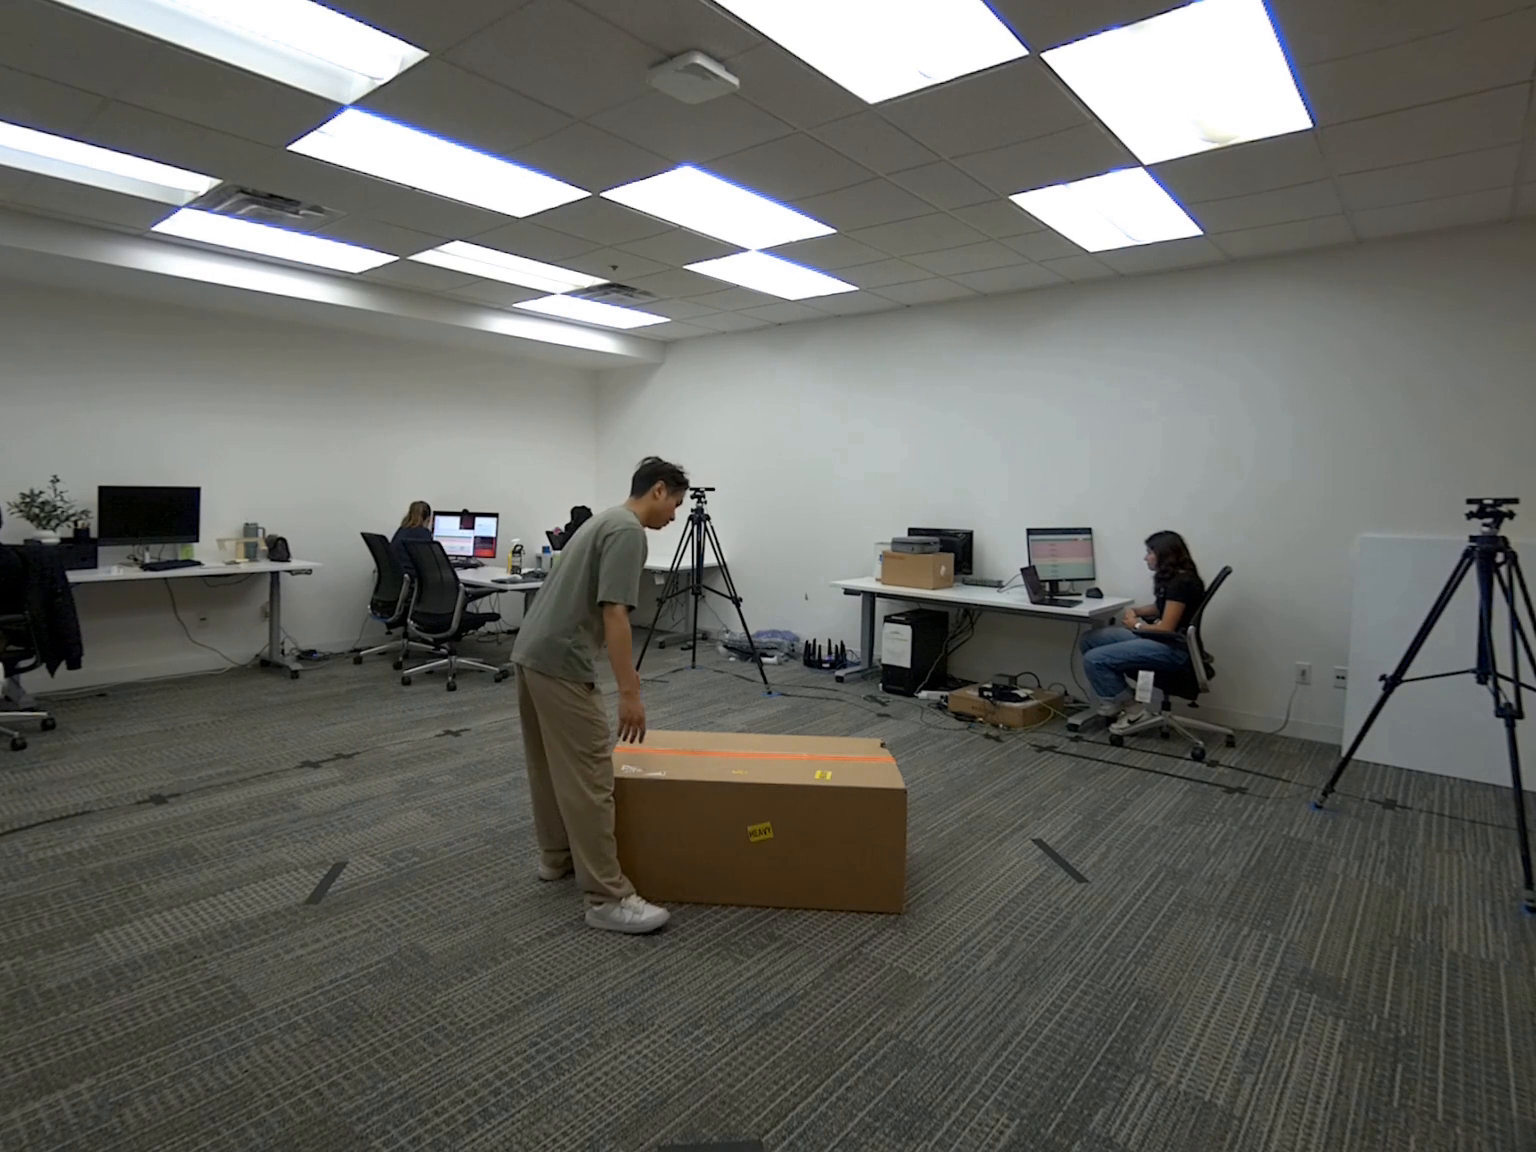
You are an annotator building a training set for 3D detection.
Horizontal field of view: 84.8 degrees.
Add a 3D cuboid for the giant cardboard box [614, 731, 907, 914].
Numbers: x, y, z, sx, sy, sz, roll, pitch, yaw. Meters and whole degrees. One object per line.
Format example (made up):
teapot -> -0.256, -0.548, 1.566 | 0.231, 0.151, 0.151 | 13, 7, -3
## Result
giant cardboard box -> -0.062, 0.854, 3.098 | 1.029, 0.425, 0.578 | 1, 4, 2
